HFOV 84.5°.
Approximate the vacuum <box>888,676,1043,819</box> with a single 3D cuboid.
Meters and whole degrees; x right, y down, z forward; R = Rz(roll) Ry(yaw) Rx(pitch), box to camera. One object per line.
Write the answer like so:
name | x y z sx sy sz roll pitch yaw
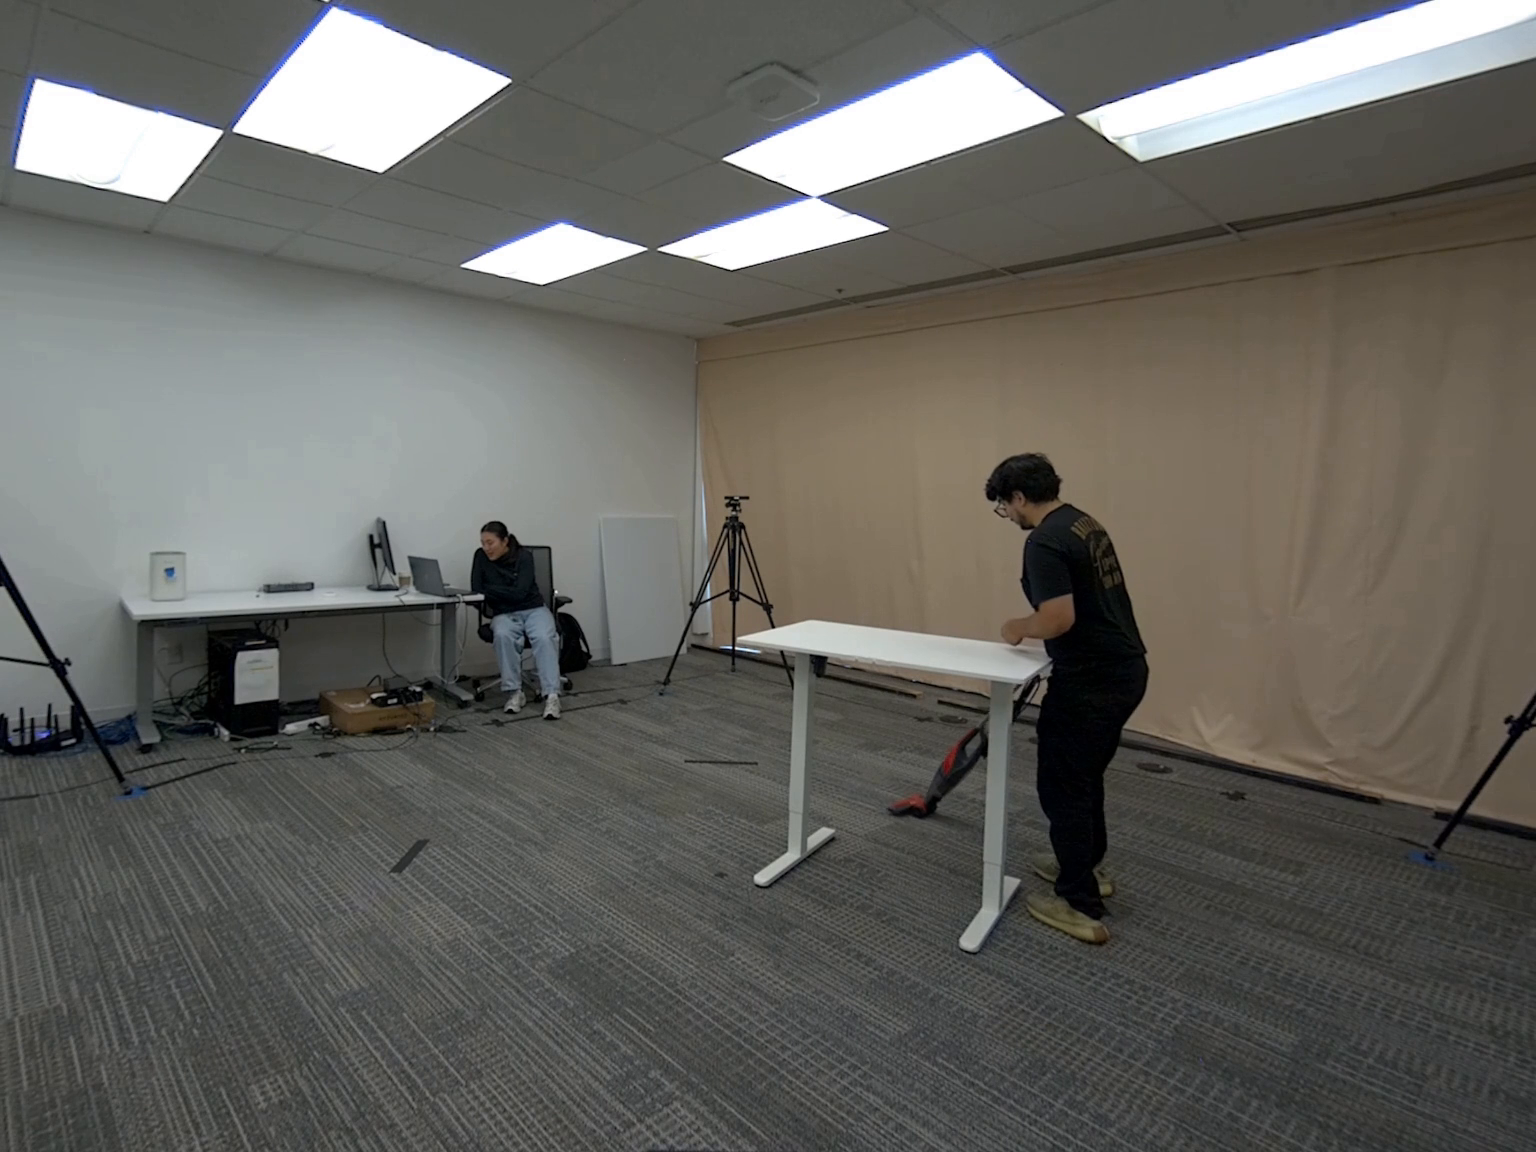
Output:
vacuum | 0.899 0.670 3.556 0.247 1.044 0.148 -1 44 -46
